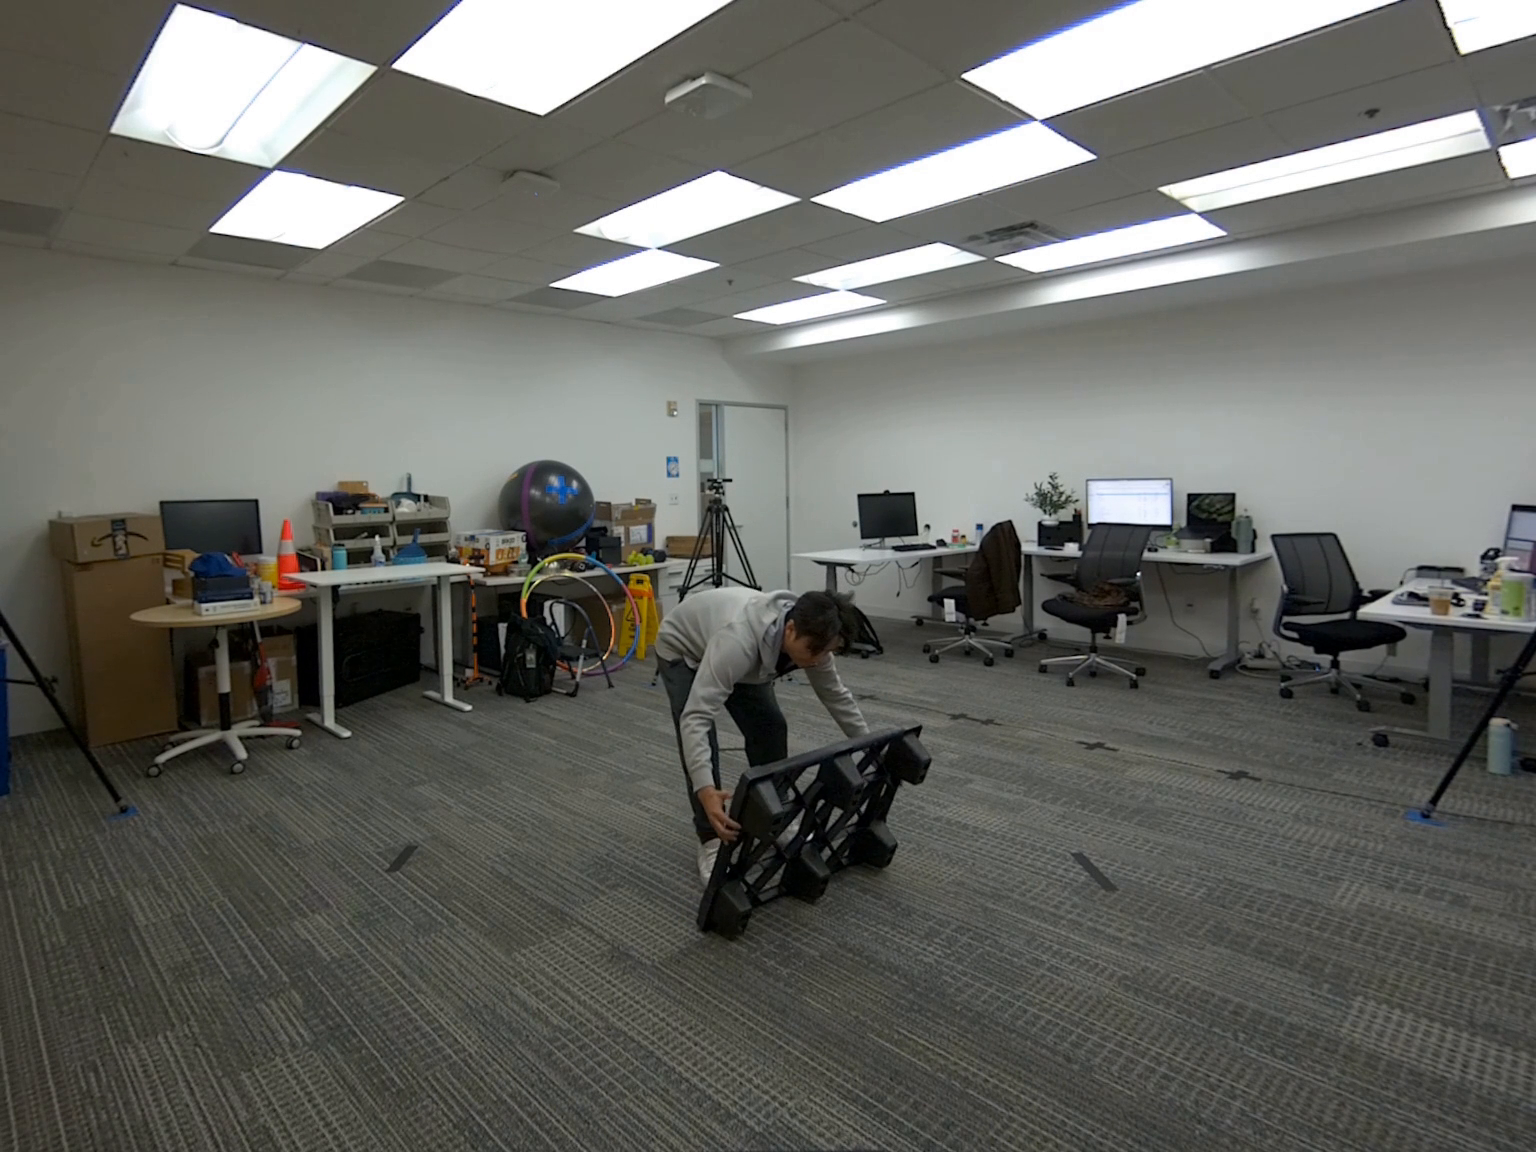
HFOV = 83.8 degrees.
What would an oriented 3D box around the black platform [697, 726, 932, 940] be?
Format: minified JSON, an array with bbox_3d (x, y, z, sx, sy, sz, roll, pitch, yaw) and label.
[{"bbox_3d":[0.192,0.818,2.754,0.785,0.597,0.149,-6,30,-41],"label":"black platform"}]
